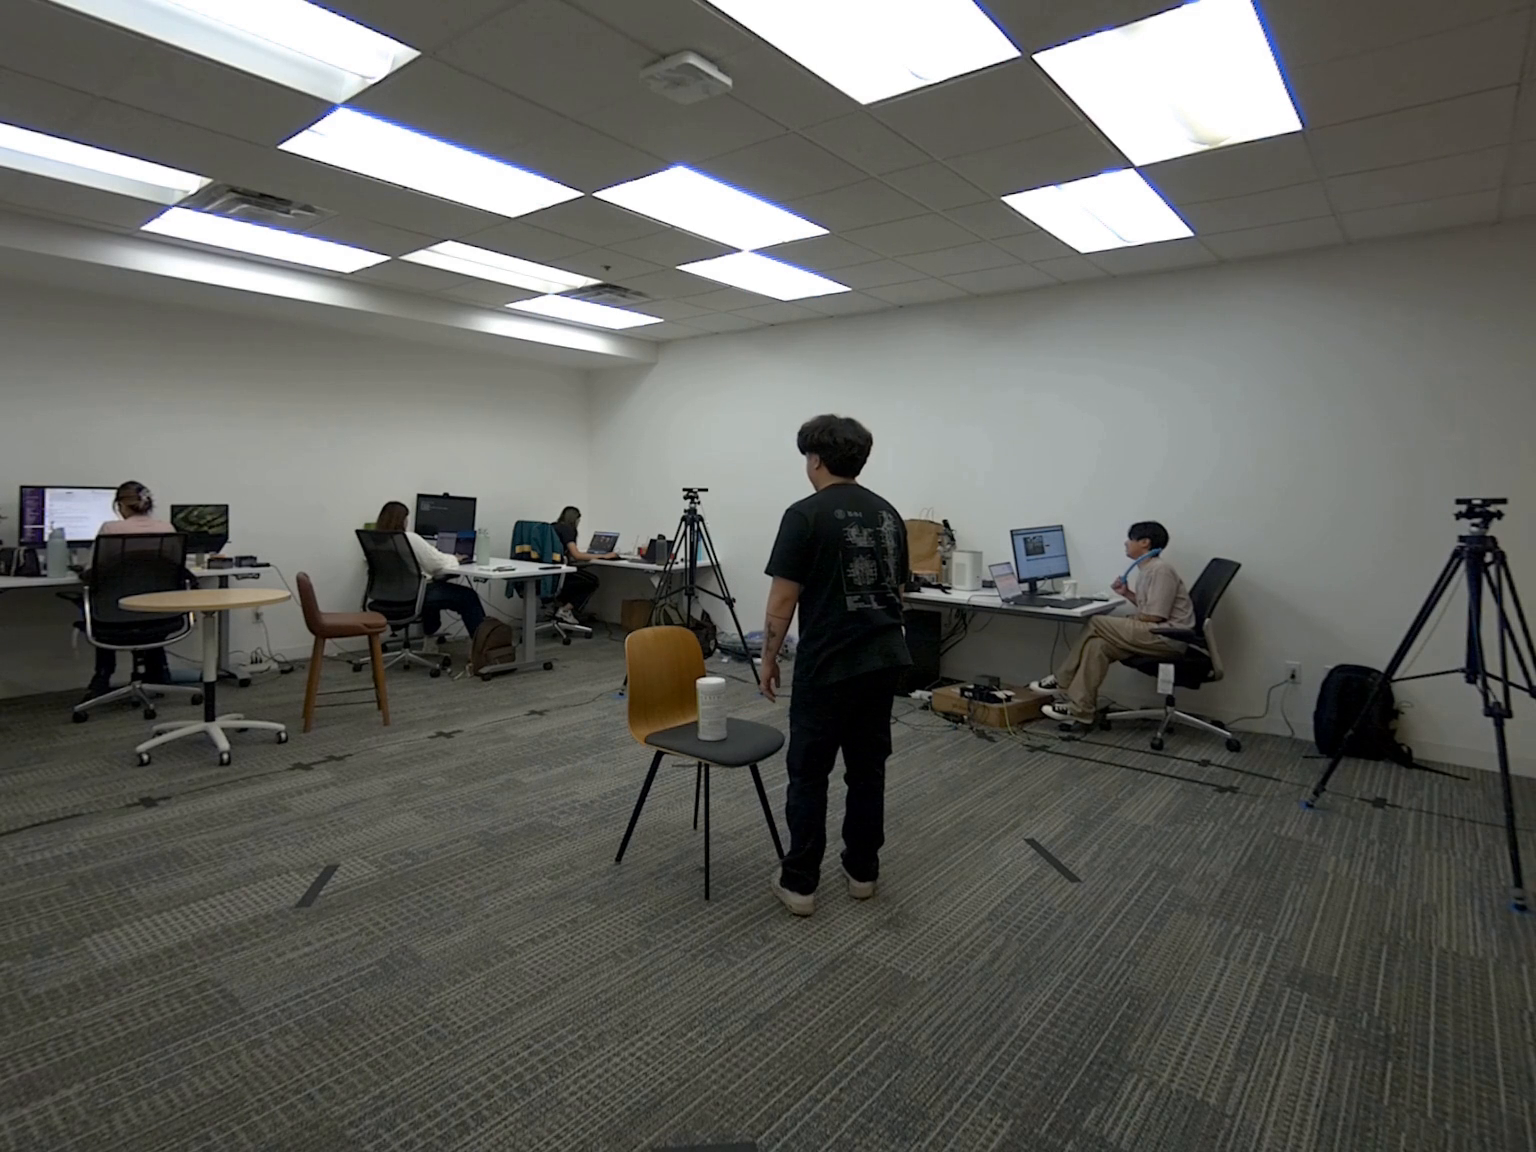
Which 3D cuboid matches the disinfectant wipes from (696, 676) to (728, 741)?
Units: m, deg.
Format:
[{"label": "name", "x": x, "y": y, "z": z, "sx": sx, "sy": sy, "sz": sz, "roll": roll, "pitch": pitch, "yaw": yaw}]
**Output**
[{"label": "disinfectant wipes", "x": -0.219, "y": 0.489, "z": 3.136, "sx": 0.118, "sy": 0.217, "sz": 0.118, "roll": -2, "pitch": 0, "yaw": -2}]
